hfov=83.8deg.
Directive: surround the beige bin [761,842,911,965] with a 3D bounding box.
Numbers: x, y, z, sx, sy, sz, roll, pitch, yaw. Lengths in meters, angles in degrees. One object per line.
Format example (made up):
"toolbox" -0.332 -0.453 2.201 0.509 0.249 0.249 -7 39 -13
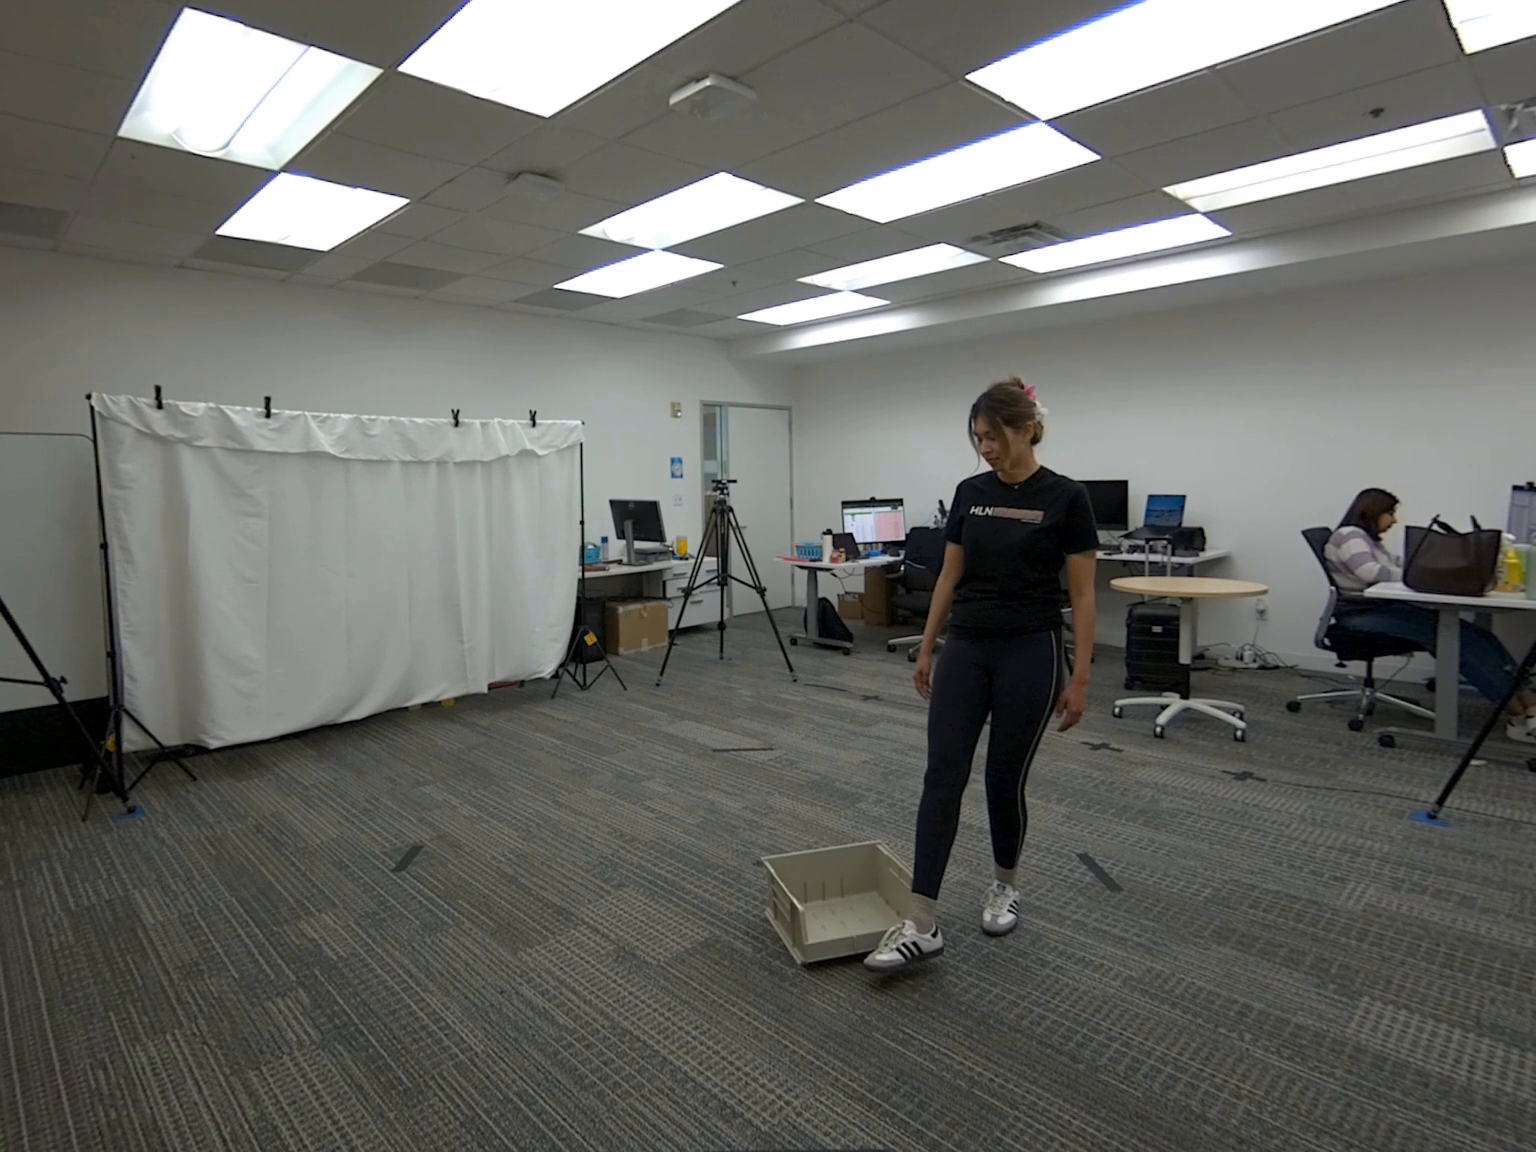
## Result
"beige bin" 0.244 1.006 2.634 0.416 0.188 0.384 -4 5 -17
